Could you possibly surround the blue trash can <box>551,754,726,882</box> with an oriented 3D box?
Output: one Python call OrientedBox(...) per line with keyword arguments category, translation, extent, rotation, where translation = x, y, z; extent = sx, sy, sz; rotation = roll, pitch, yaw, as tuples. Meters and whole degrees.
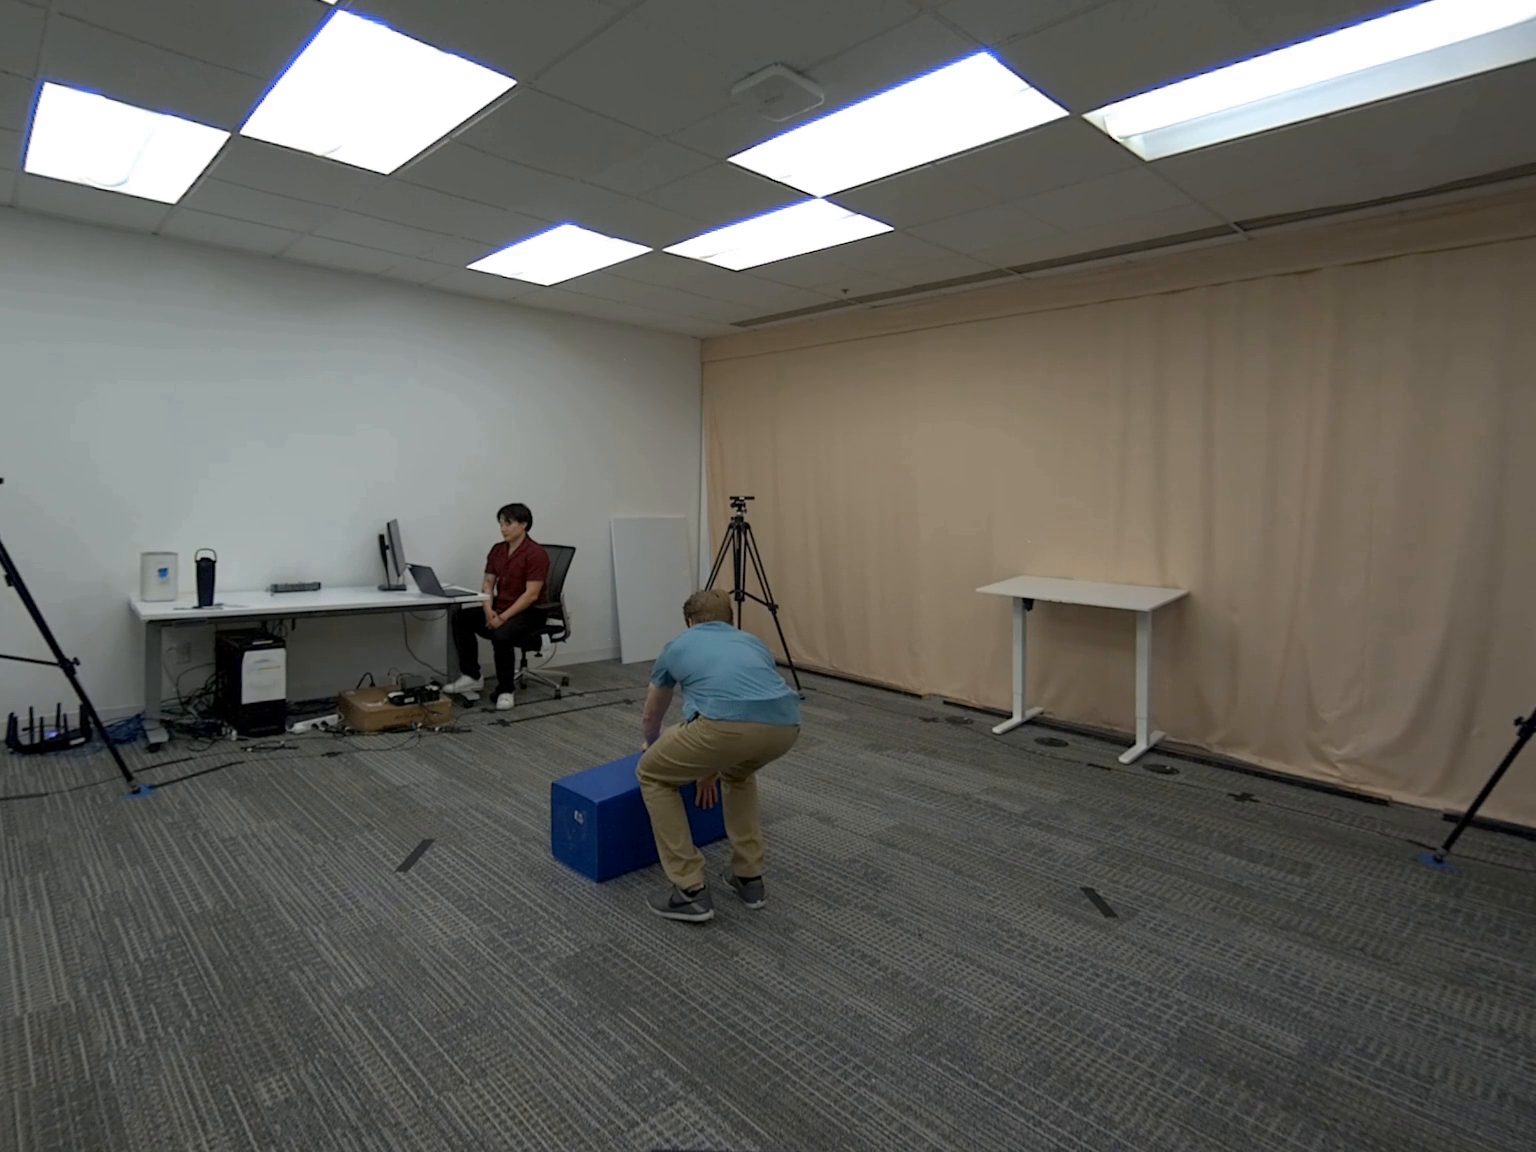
OrientedBox(category="blue trash can", translation=(-0.478, 0.917, 3.342), extent=(0.384, 0.376, 0.699), rotation=(5, 10, 44))
